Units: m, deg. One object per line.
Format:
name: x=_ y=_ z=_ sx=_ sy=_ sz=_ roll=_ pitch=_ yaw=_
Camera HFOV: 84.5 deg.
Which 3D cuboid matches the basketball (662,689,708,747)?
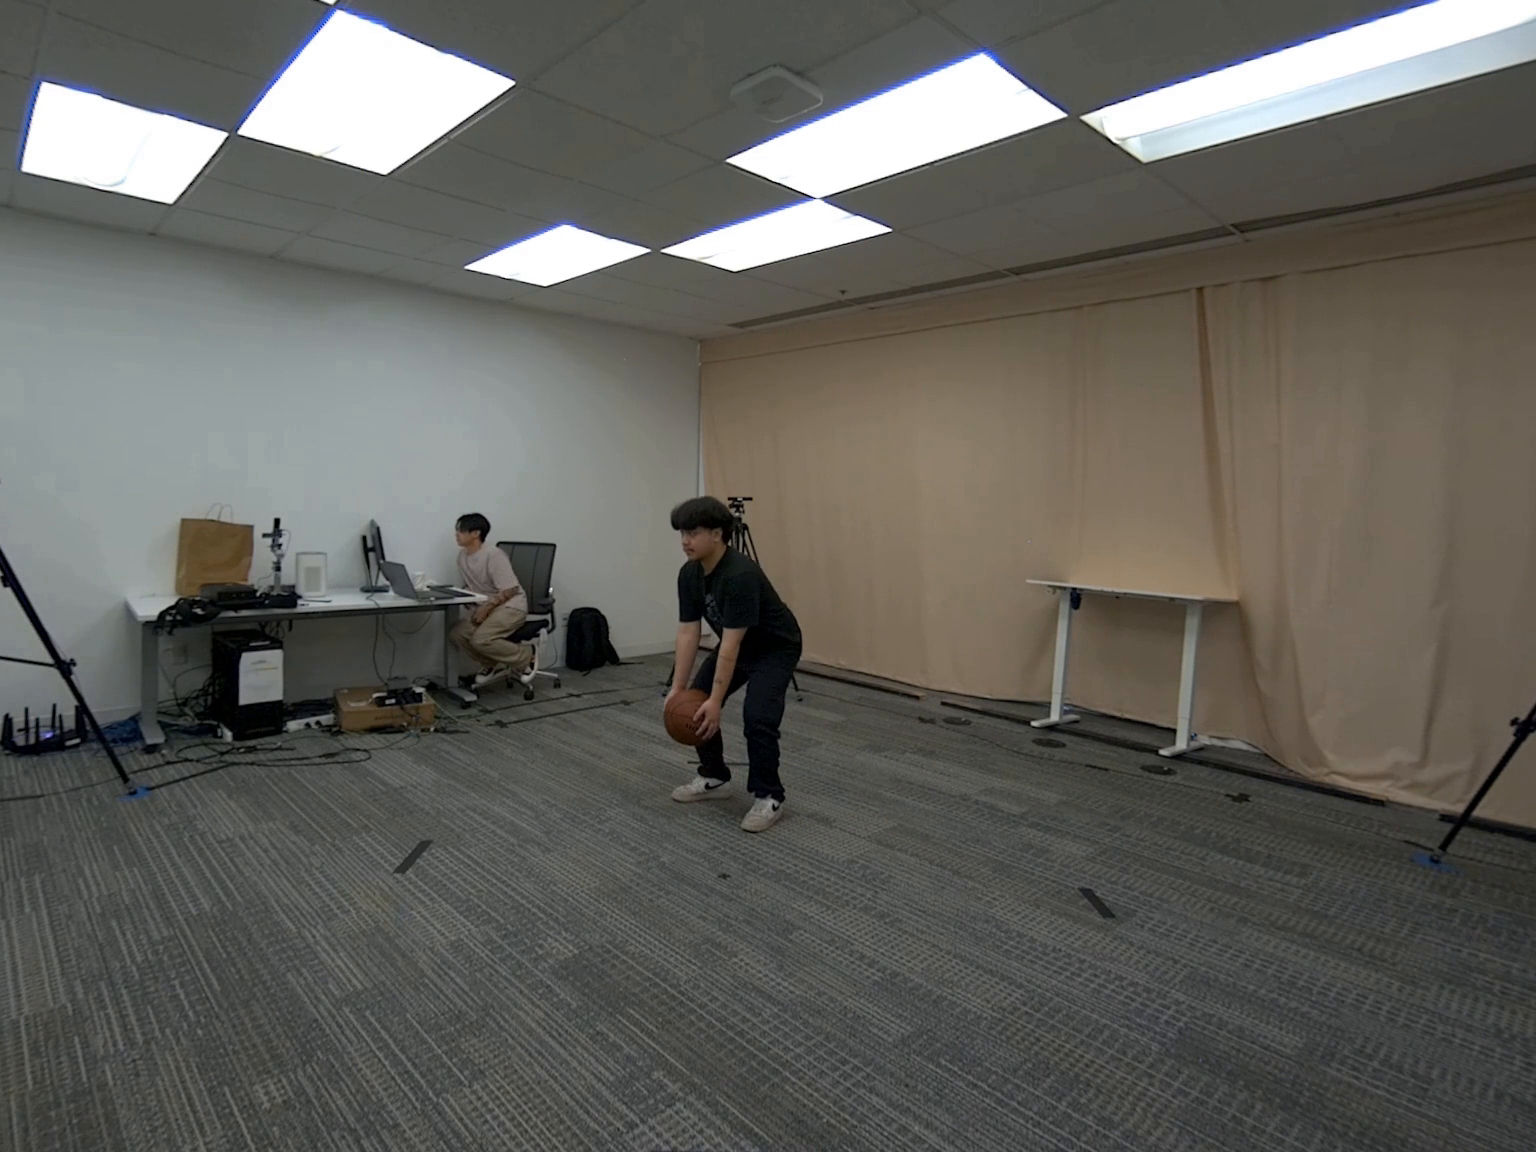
basketball: x=-0.341 y=0.602 z=3.597 sx=0.236 sy=0.235 sz=0.237 roll=1 pitch=4 yaw=-1
